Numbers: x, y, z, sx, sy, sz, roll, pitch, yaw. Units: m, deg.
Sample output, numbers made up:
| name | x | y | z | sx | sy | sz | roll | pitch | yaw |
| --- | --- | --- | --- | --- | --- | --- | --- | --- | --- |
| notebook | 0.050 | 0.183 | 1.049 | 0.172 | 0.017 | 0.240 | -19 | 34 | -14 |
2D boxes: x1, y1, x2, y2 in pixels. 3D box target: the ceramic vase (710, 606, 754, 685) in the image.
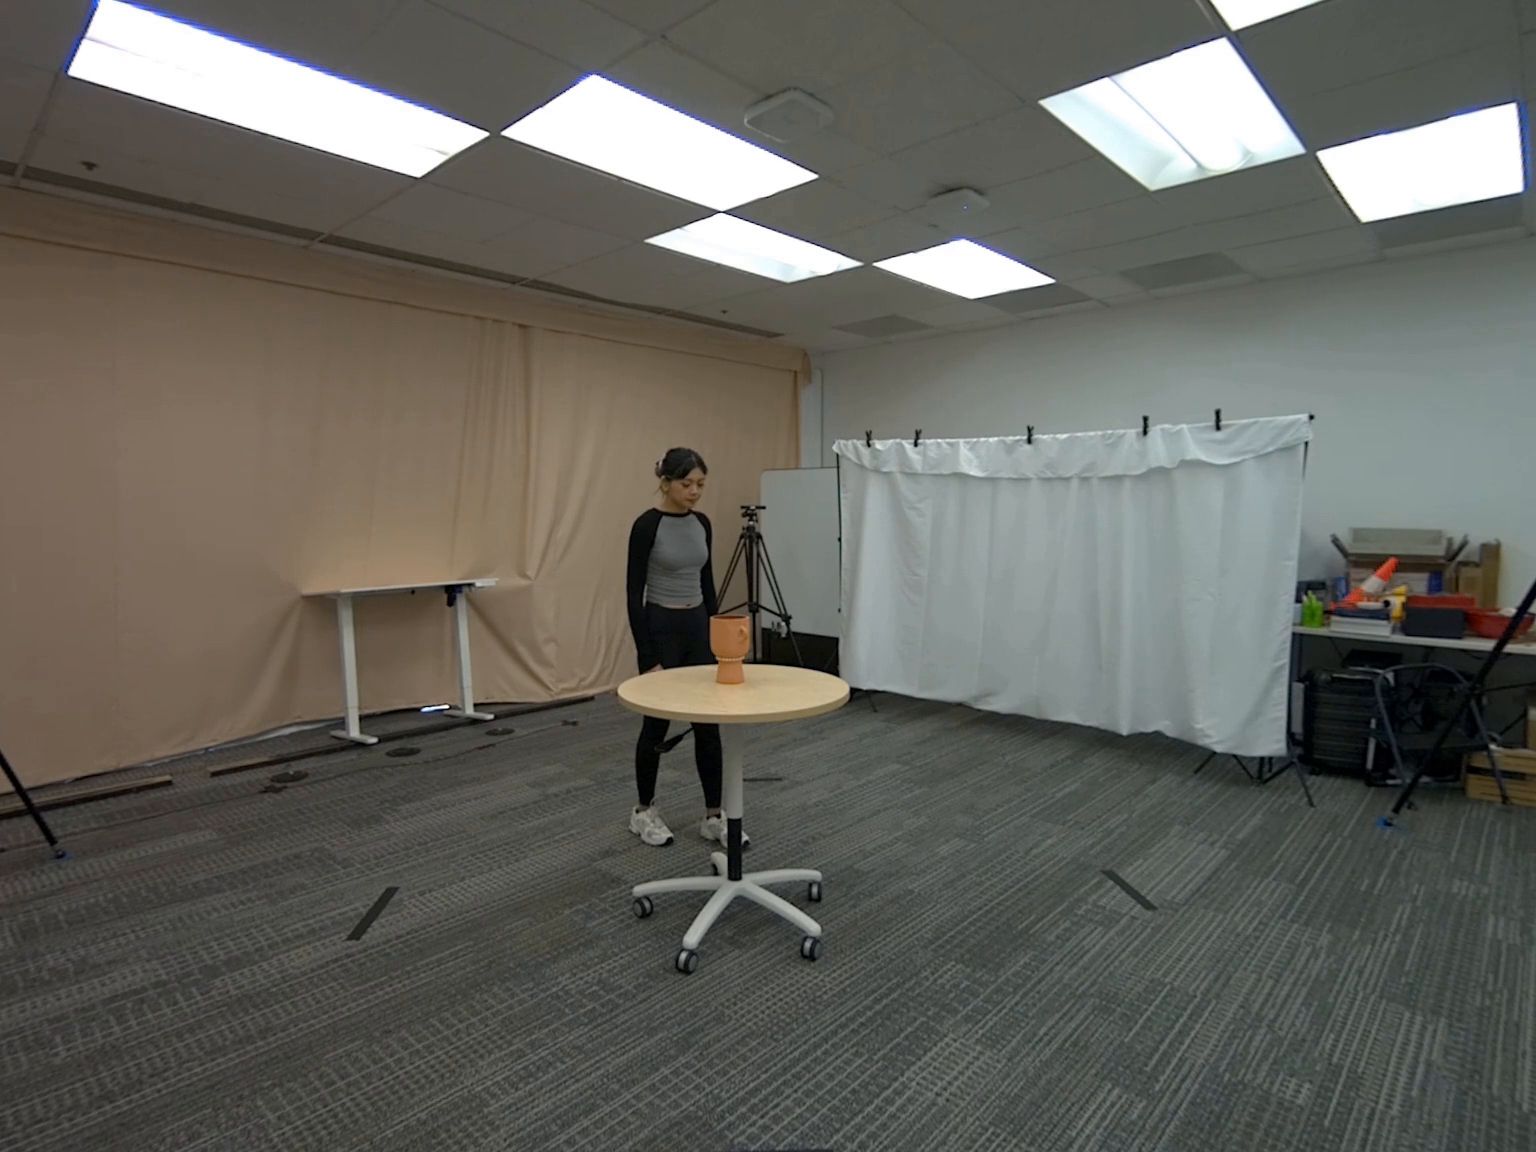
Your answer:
| name | x | y | z | sx | sy | sz | roll | pitch | yaw |
| --- | --- | --- | --- | --- | --- | --- | --- | --- | --- |
| ceramic vase | -0.123 | 0.251 | 2.867 | 0.135 | 0.219 | 0.158 | 1 | 4 | 3 |
